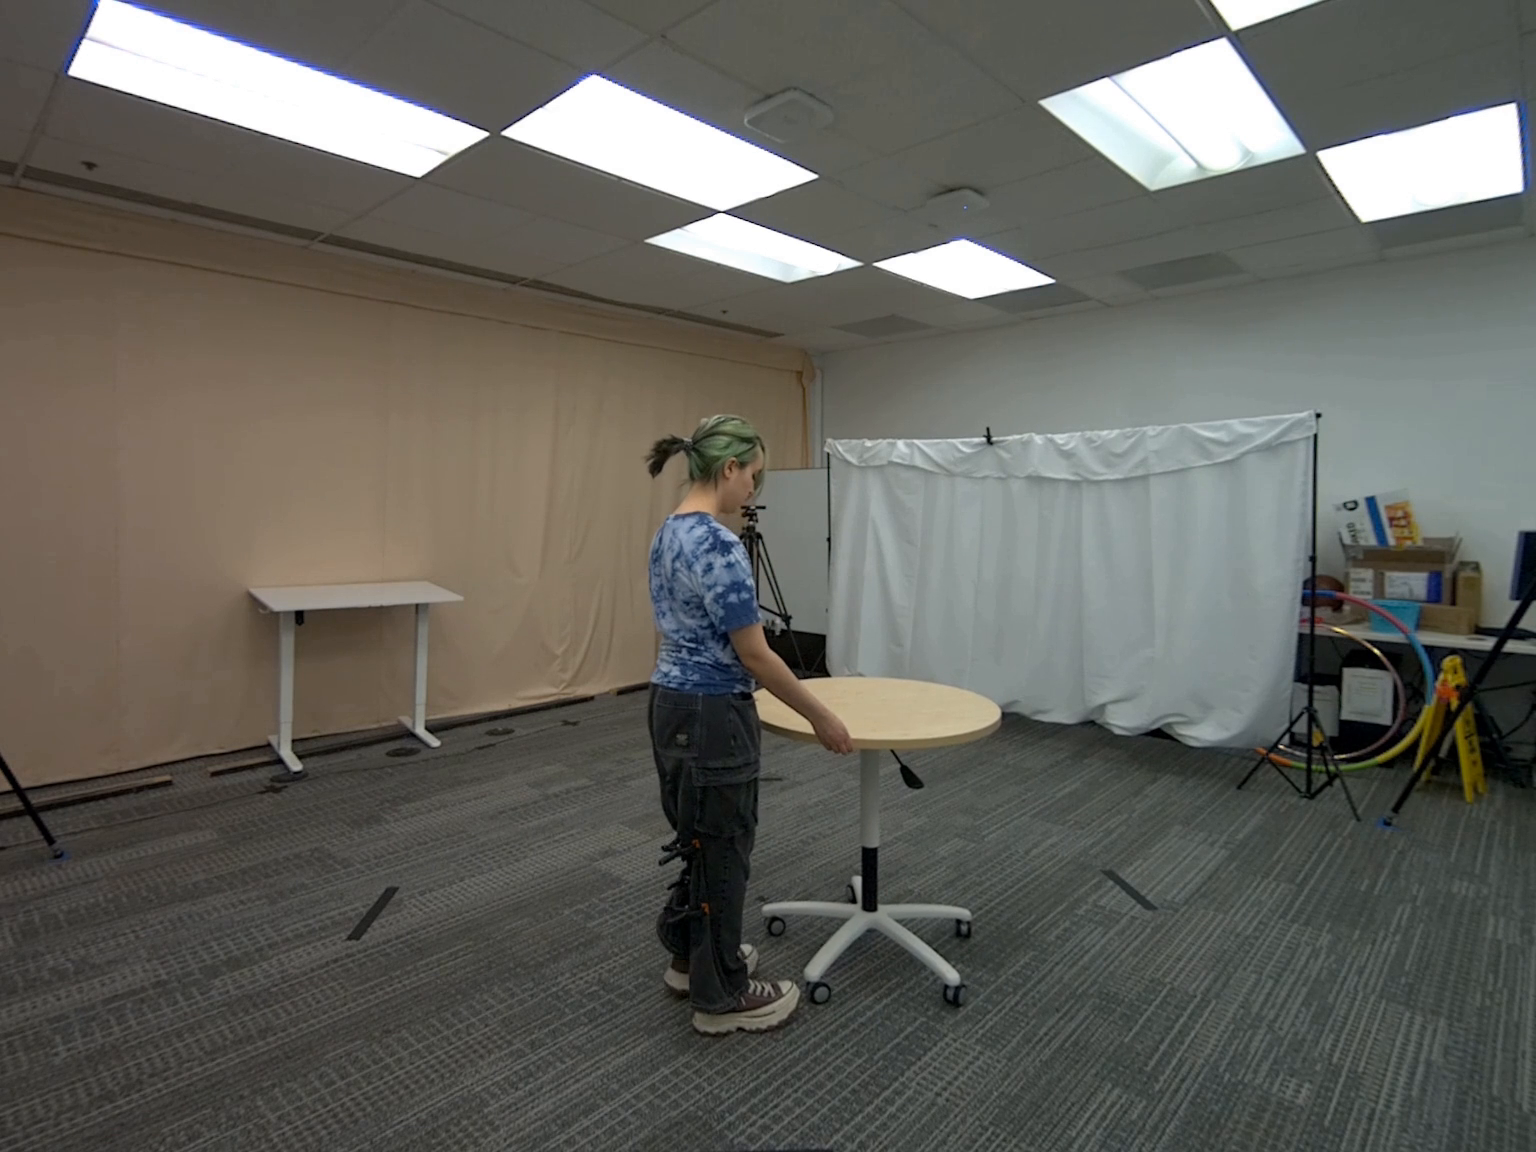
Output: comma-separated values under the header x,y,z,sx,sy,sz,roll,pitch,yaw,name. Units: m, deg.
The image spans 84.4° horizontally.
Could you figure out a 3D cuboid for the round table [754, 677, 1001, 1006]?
x,y,z,sx,sy,sz,roll,pitch,yaw,name
0.319,0.786,2.607,0.763,0.792,0.767,0,4,-2,round table
